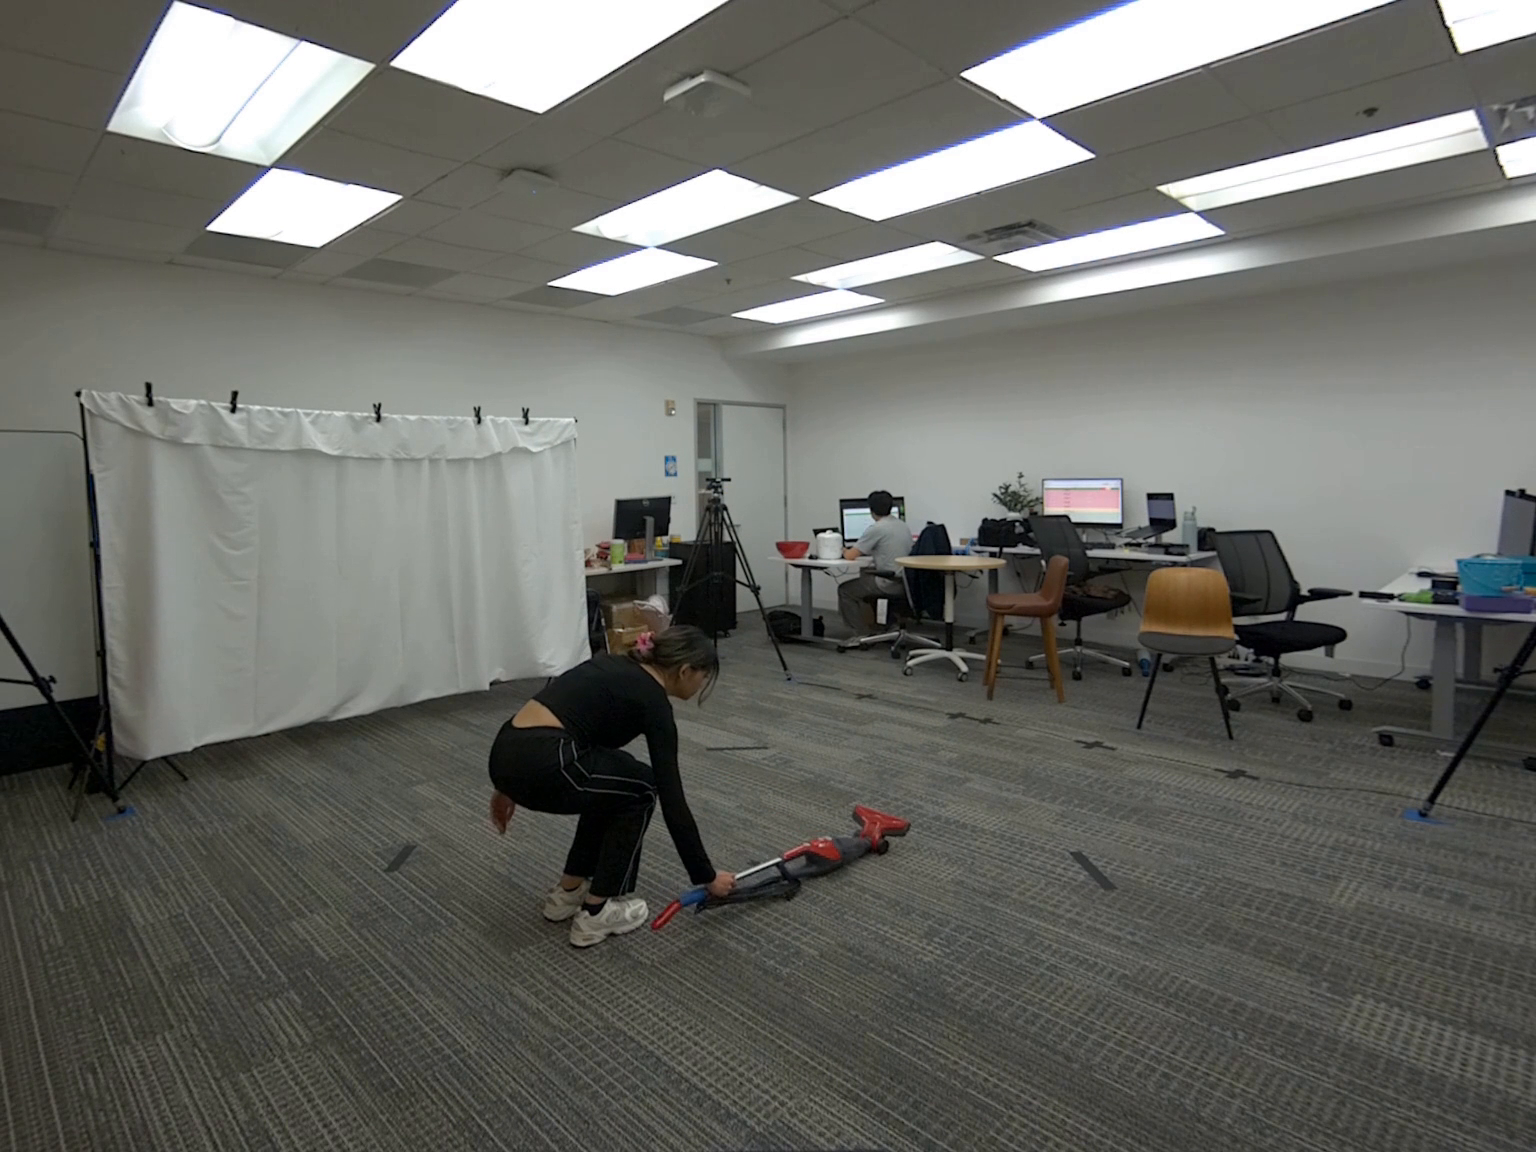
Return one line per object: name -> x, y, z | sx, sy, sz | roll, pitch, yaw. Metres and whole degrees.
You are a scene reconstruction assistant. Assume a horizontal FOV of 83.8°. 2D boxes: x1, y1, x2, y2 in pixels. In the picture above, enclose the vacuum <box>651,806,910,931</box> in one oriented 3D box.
vacuum -> 0.054, 1.005, 2.890 | 1.022, 0.143, 0.261 | -7, 10, -42
